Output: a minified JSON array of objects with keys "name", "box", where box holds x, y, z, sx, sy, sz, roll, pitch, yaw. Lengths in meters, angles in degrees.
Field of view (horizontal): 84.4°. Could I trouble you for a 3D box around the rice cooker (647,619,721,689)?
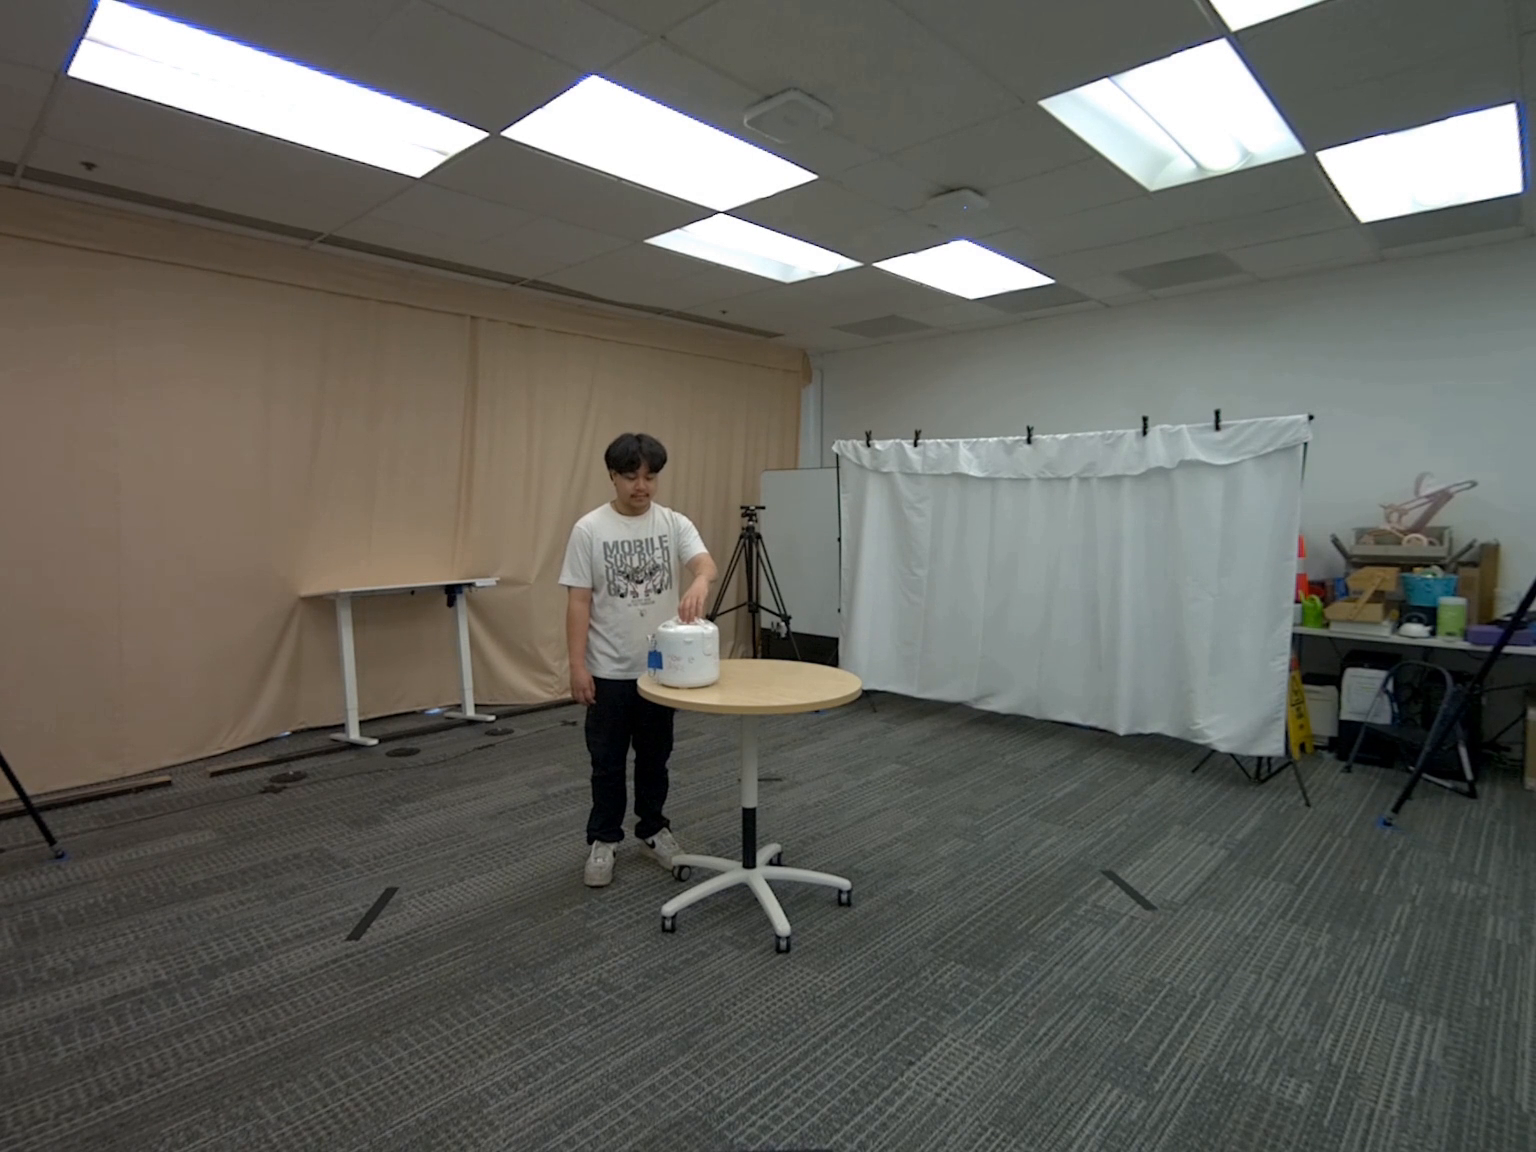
[{"name":"rice cooker","box":[-0.269,0.243,2.818,0.211,0.232,0.228,-4,6,-44]}]
